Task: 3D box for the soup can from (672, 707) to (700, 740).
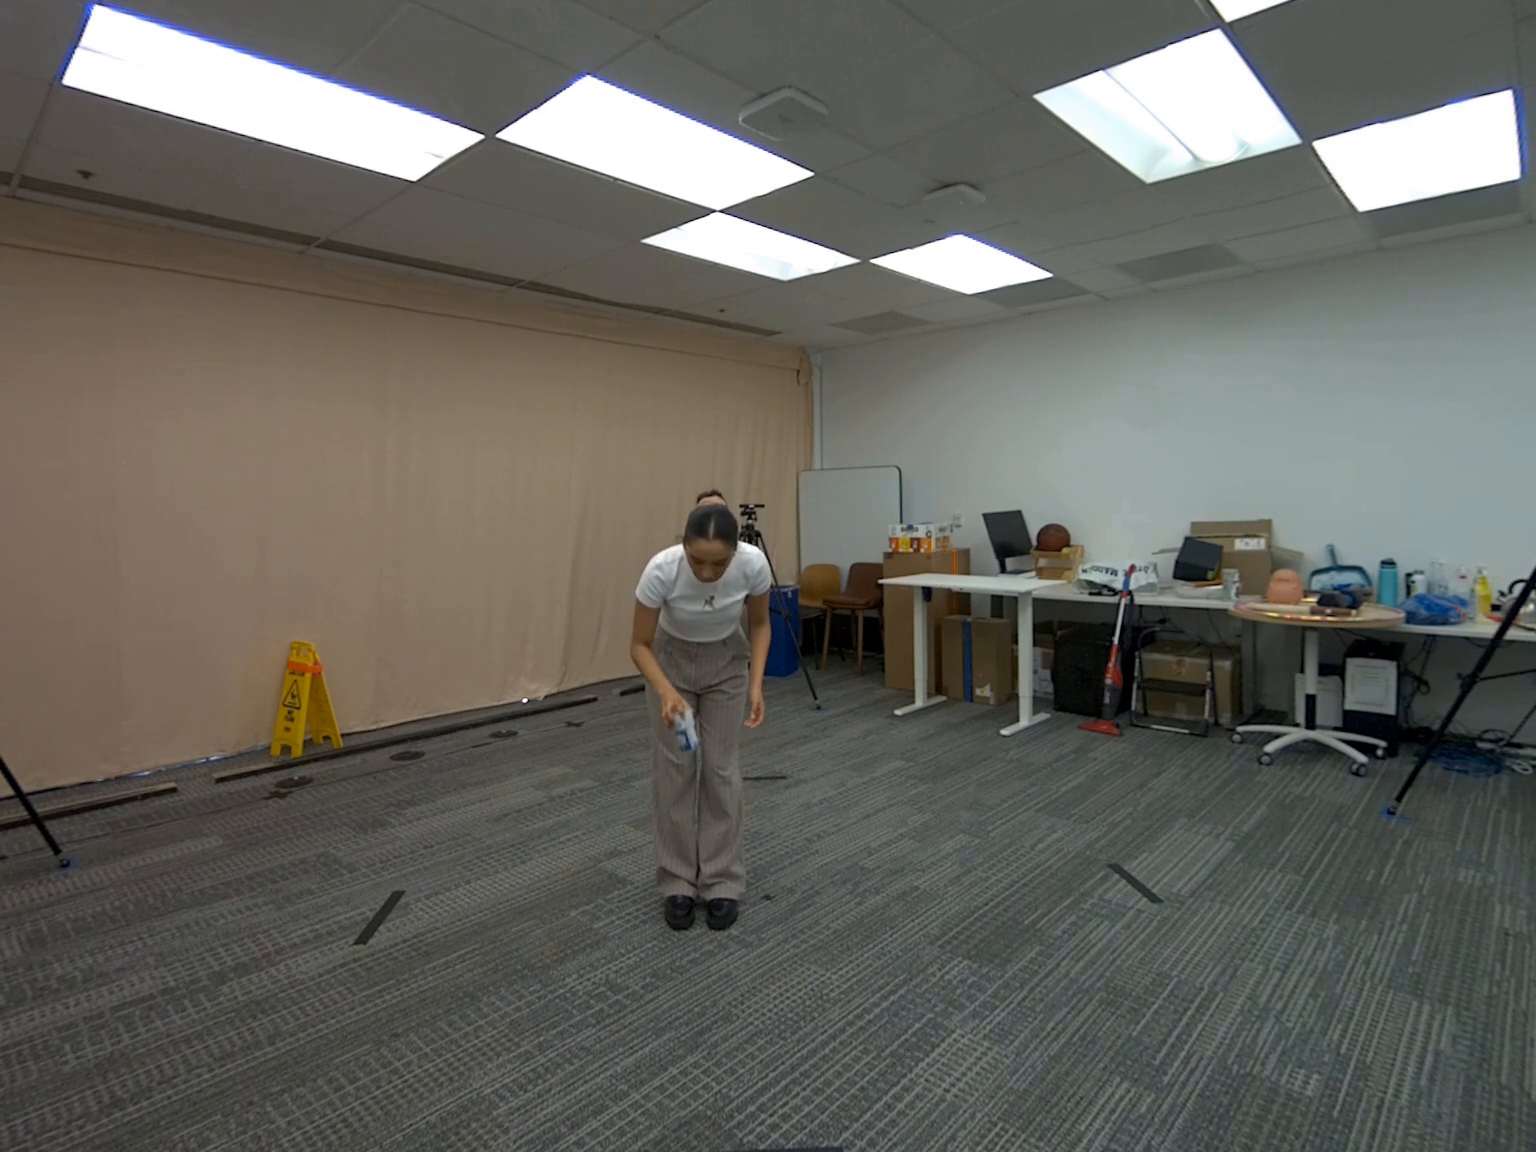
[{"bbox_3d":[-0.257,0.396,2.538,0.067,0.122,0.067,-10,-4,-2],"label":"soup can"}]
